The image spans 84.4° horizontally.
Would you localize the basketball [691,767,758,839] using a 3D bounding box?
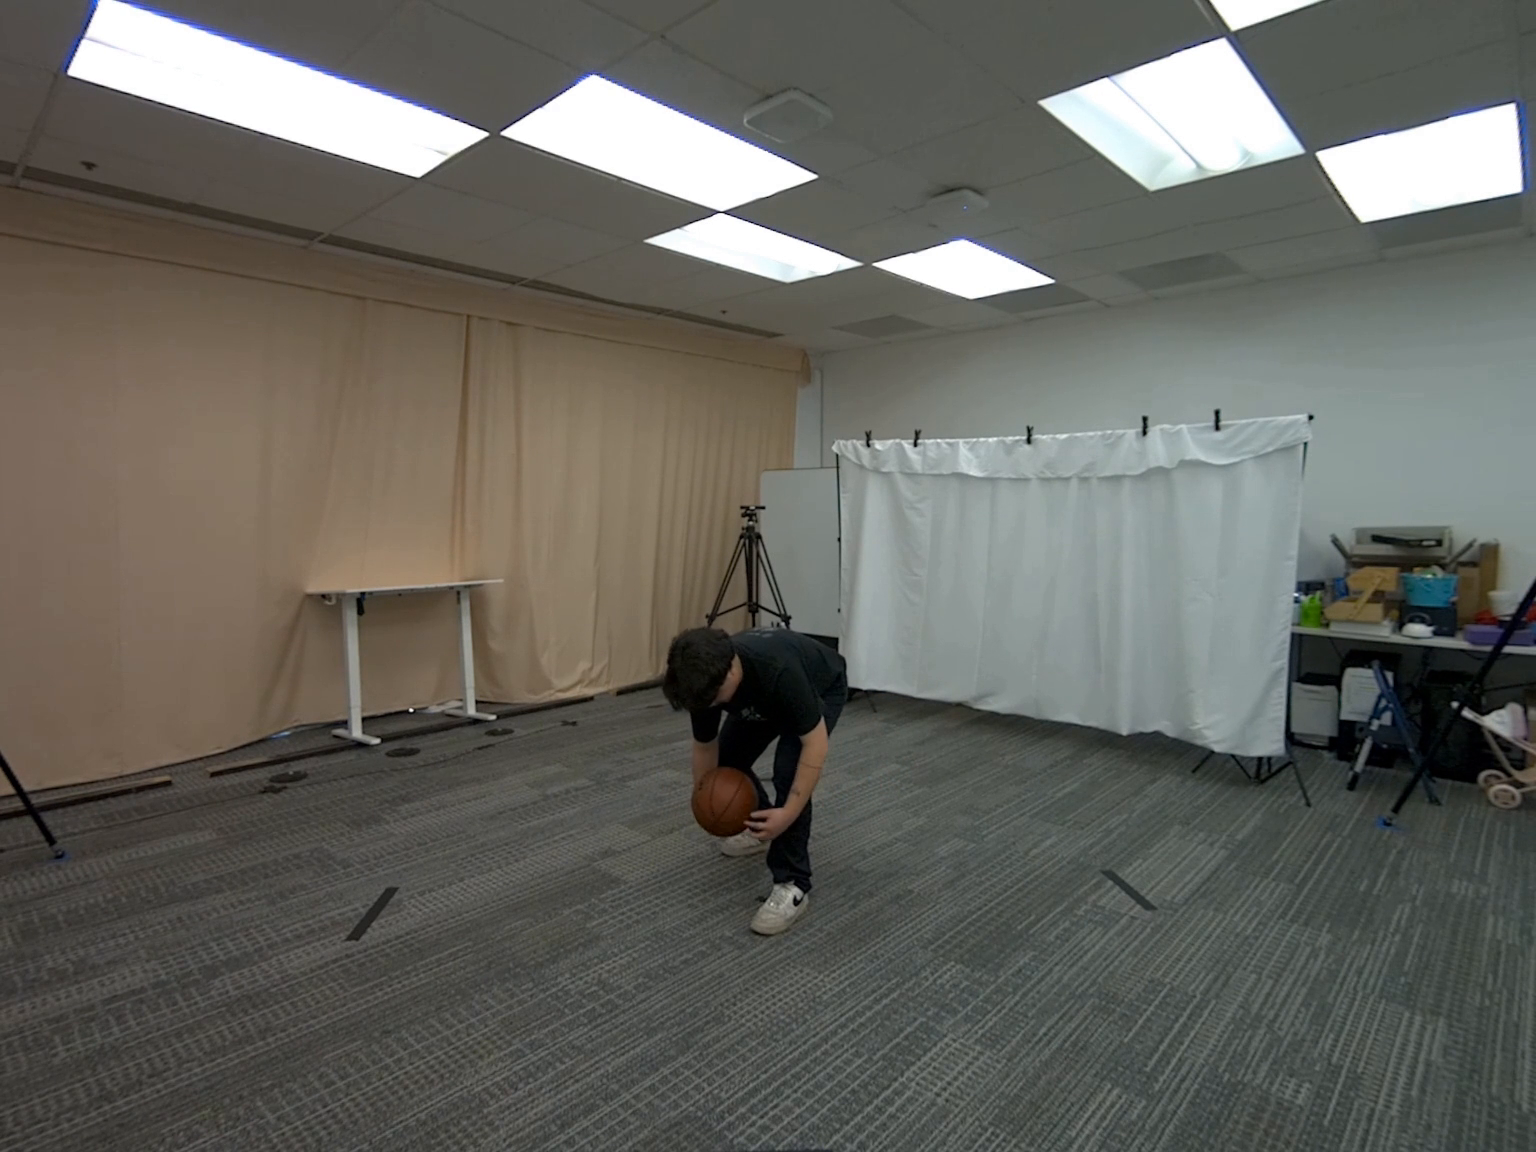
[{"bbox_3d":[-0.159,0.810,2.999,0.236,0.235,0.237,0,4,-2],"label":"basketball"}]
